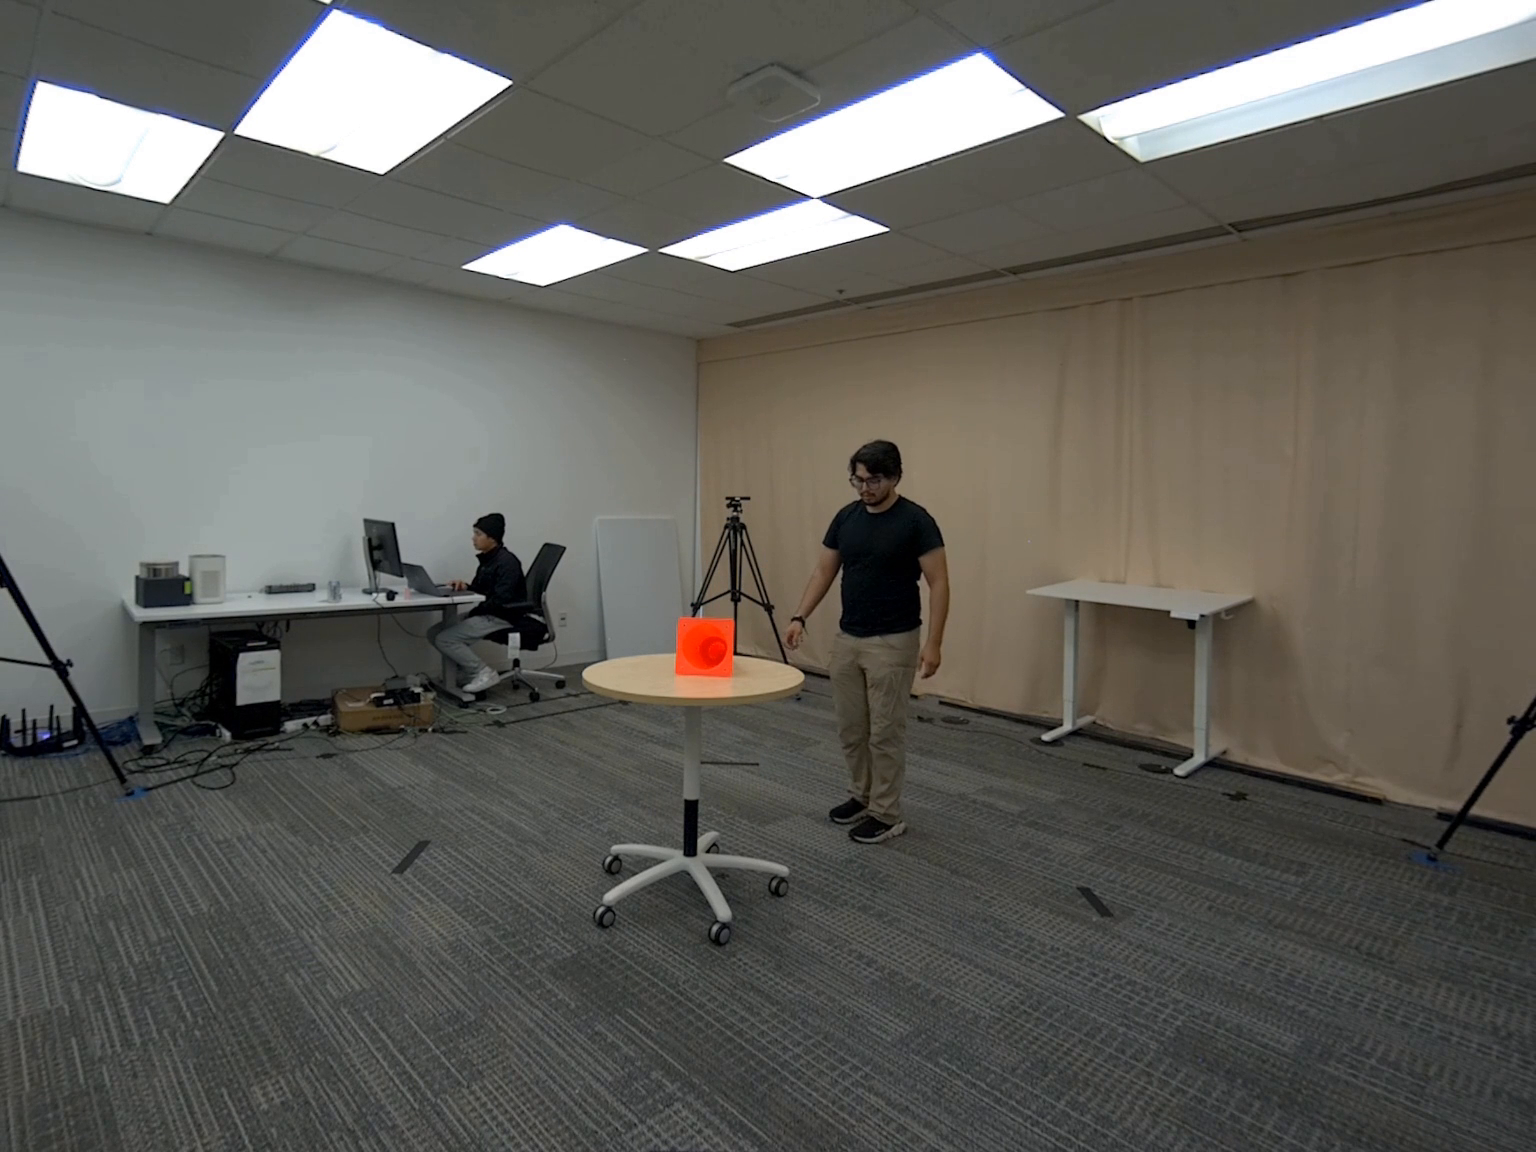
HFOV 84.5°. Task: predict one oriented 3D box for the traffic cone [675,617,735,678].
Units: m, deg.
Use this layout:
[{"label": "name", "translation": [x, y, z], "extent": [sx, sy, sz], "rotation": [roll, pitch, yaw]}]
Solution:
[{"label": "traffic cone", "translation": [-0.211, 0.283, 3.070], "extent": [0.205, 0.205, 0.379], "rotation": [-6, -11, 1]}]
